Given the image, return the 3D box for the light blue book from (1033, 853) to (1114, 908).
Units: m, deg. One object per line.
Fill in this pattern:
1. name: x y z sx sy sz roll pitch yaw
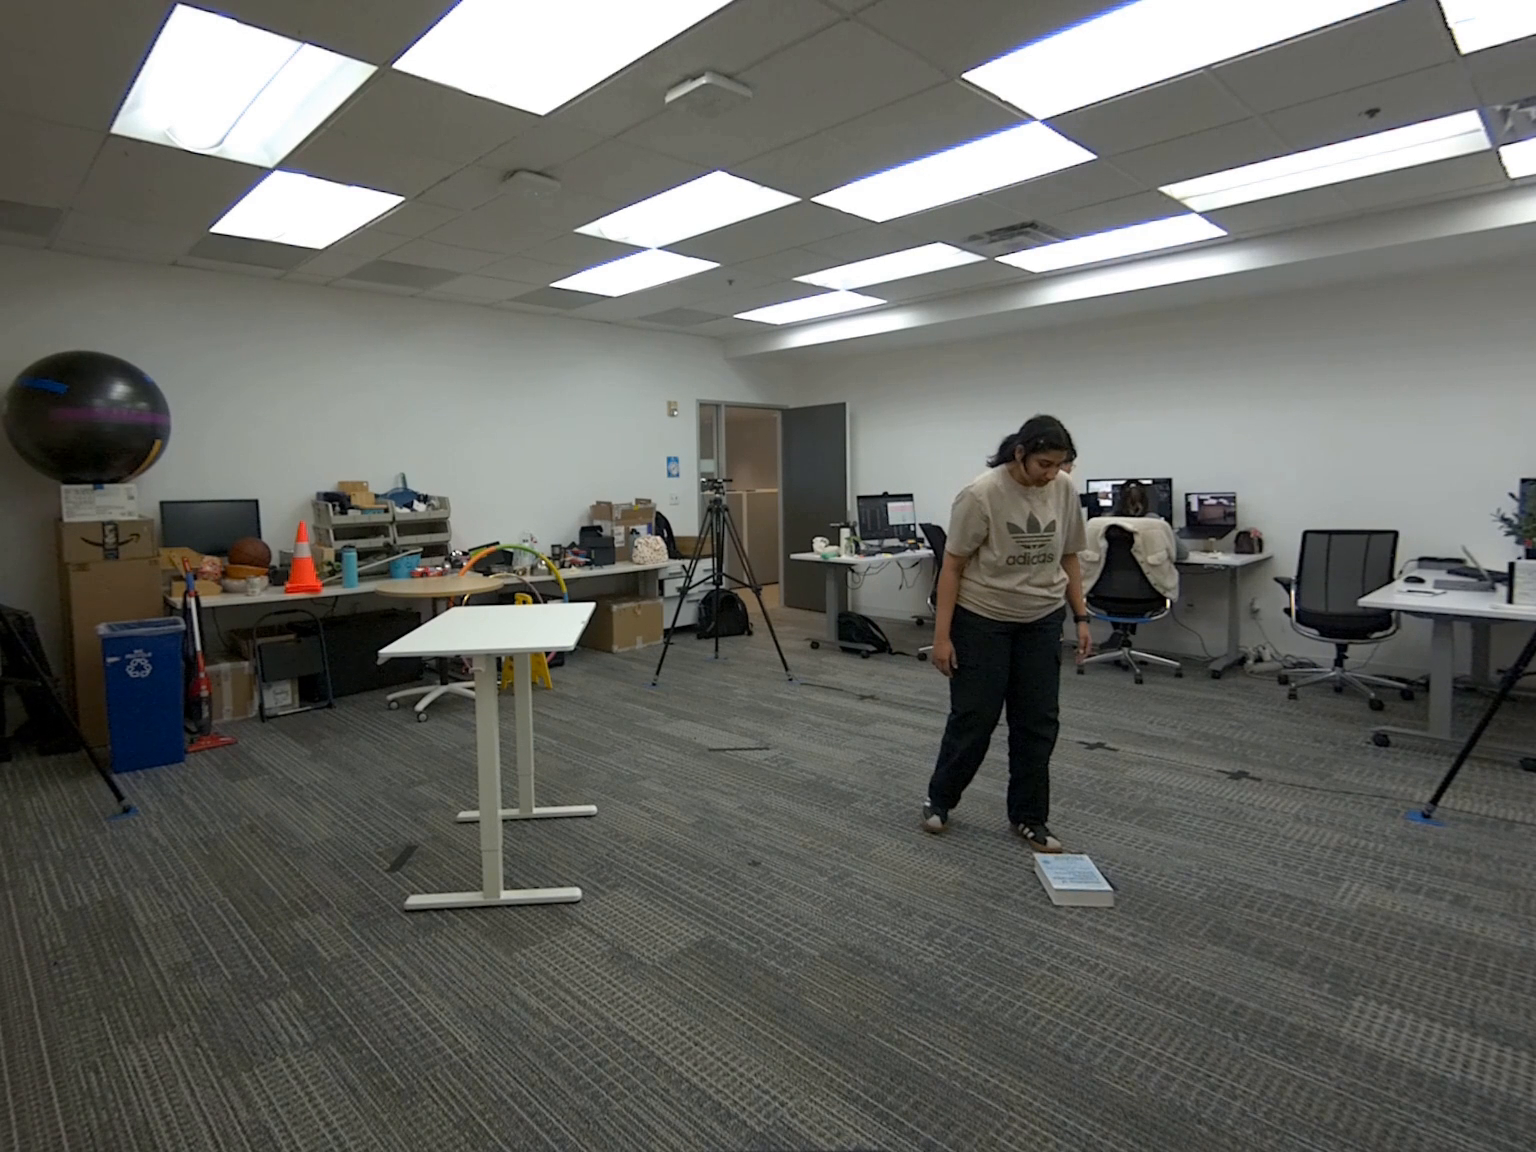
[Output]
1. light blue book: 1.014 1.021 2.880 0.192 0.059 0.261 -1 6 3
